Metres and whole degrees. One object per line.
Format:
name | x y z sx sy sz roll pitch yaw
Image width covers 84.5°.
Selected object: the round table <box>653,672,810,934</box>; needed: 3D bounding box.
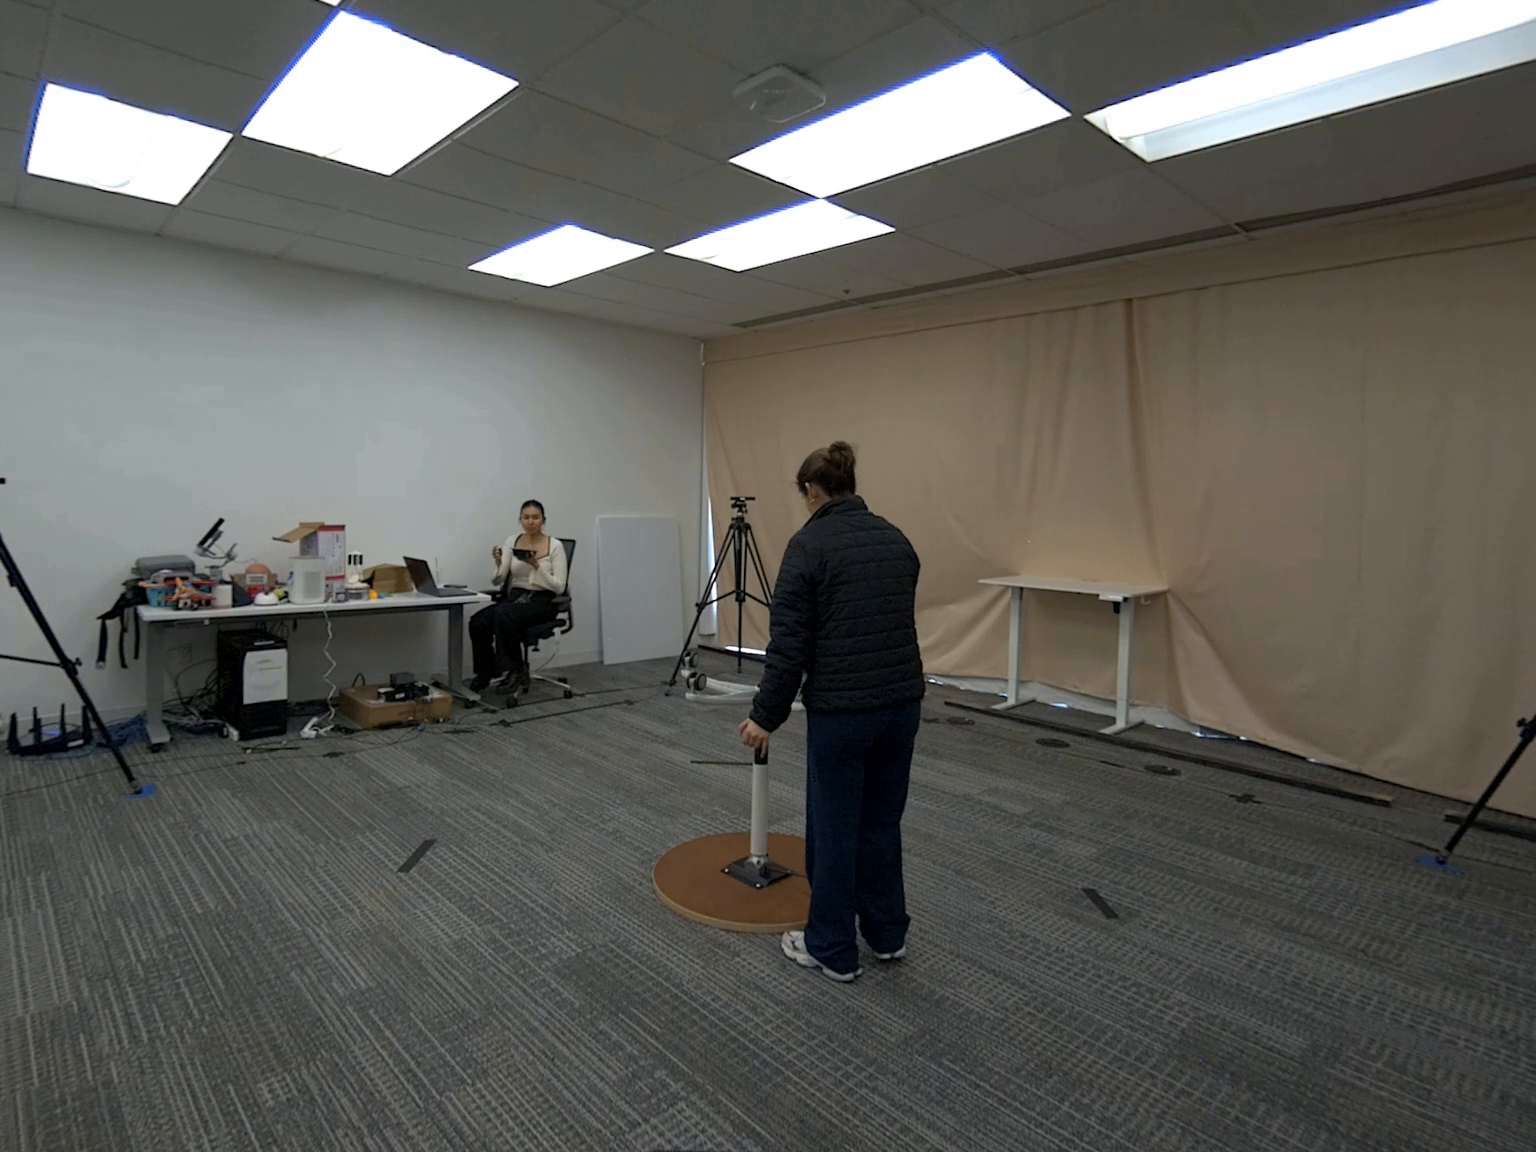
round table | -0.033 0.716 3.036 0.784 0.785 0.787 1 4 -1
